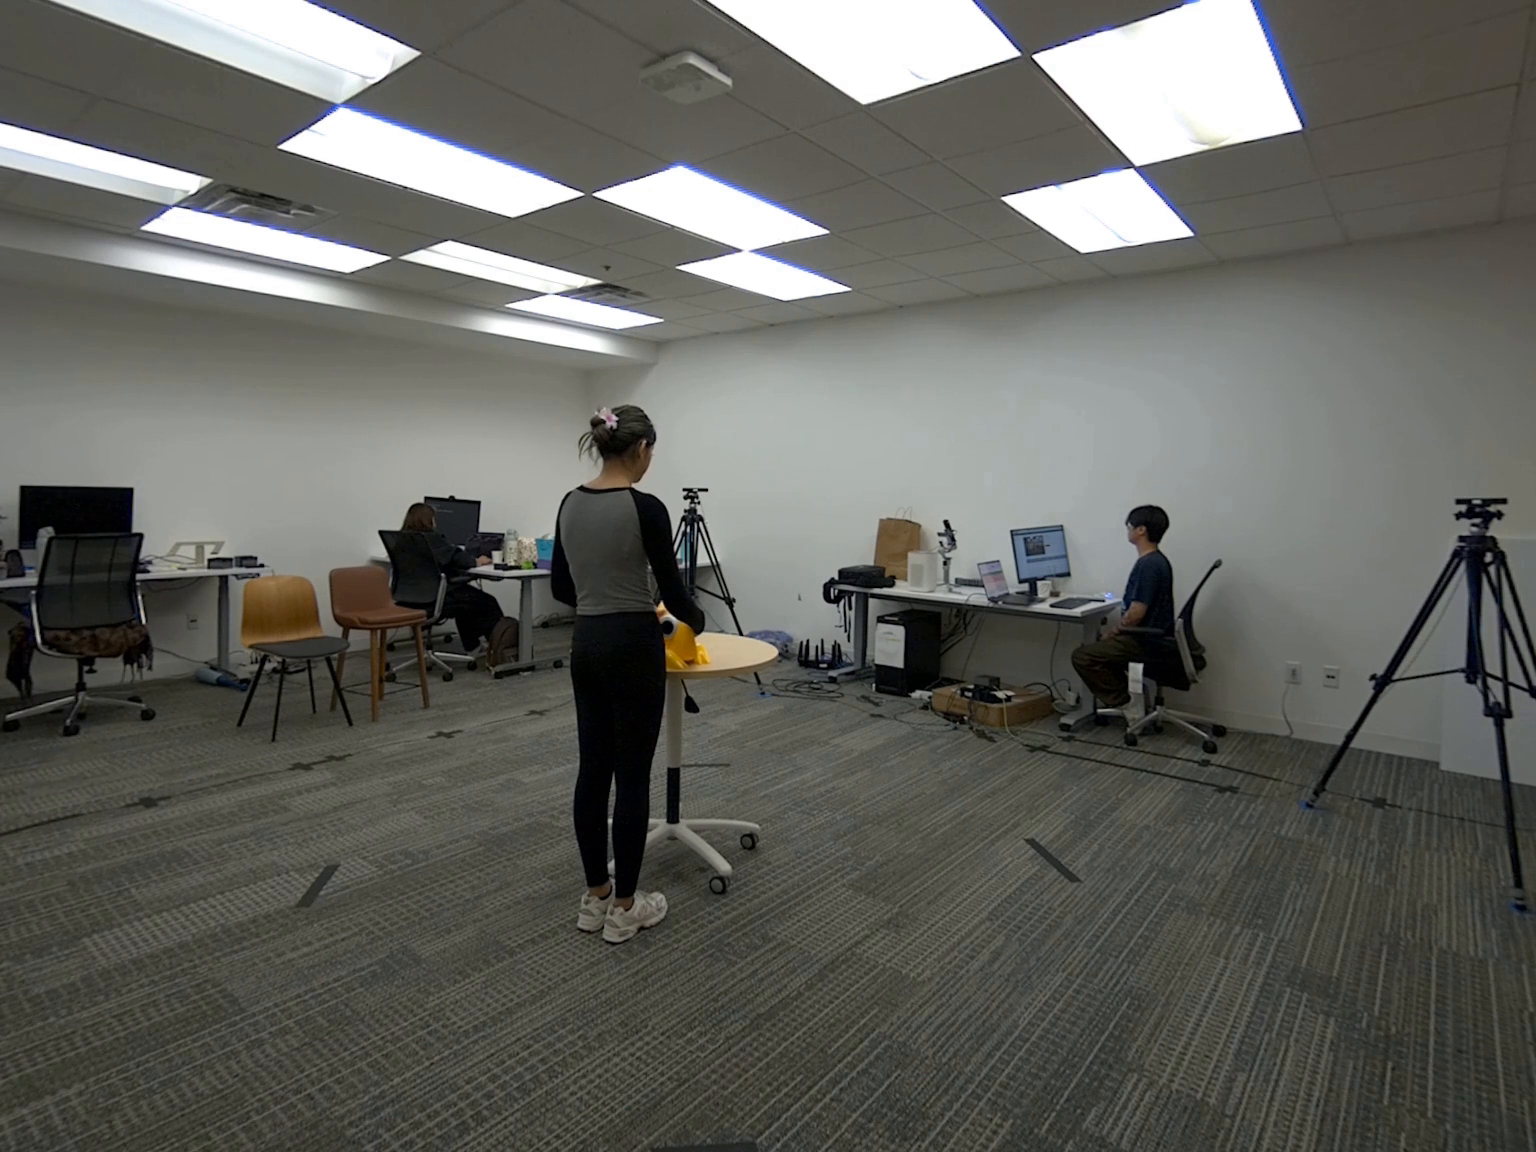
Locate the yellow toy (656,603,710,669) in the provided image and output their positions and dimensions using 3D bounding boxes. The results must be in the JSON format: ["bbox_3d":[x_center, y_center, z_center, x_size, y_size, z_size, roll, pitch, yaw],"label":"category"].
[{"bbox_3d":[-0.314,0.183,2.914,0.200,0.230,0.199,5,7,43],"label":"yellow toy"}]
